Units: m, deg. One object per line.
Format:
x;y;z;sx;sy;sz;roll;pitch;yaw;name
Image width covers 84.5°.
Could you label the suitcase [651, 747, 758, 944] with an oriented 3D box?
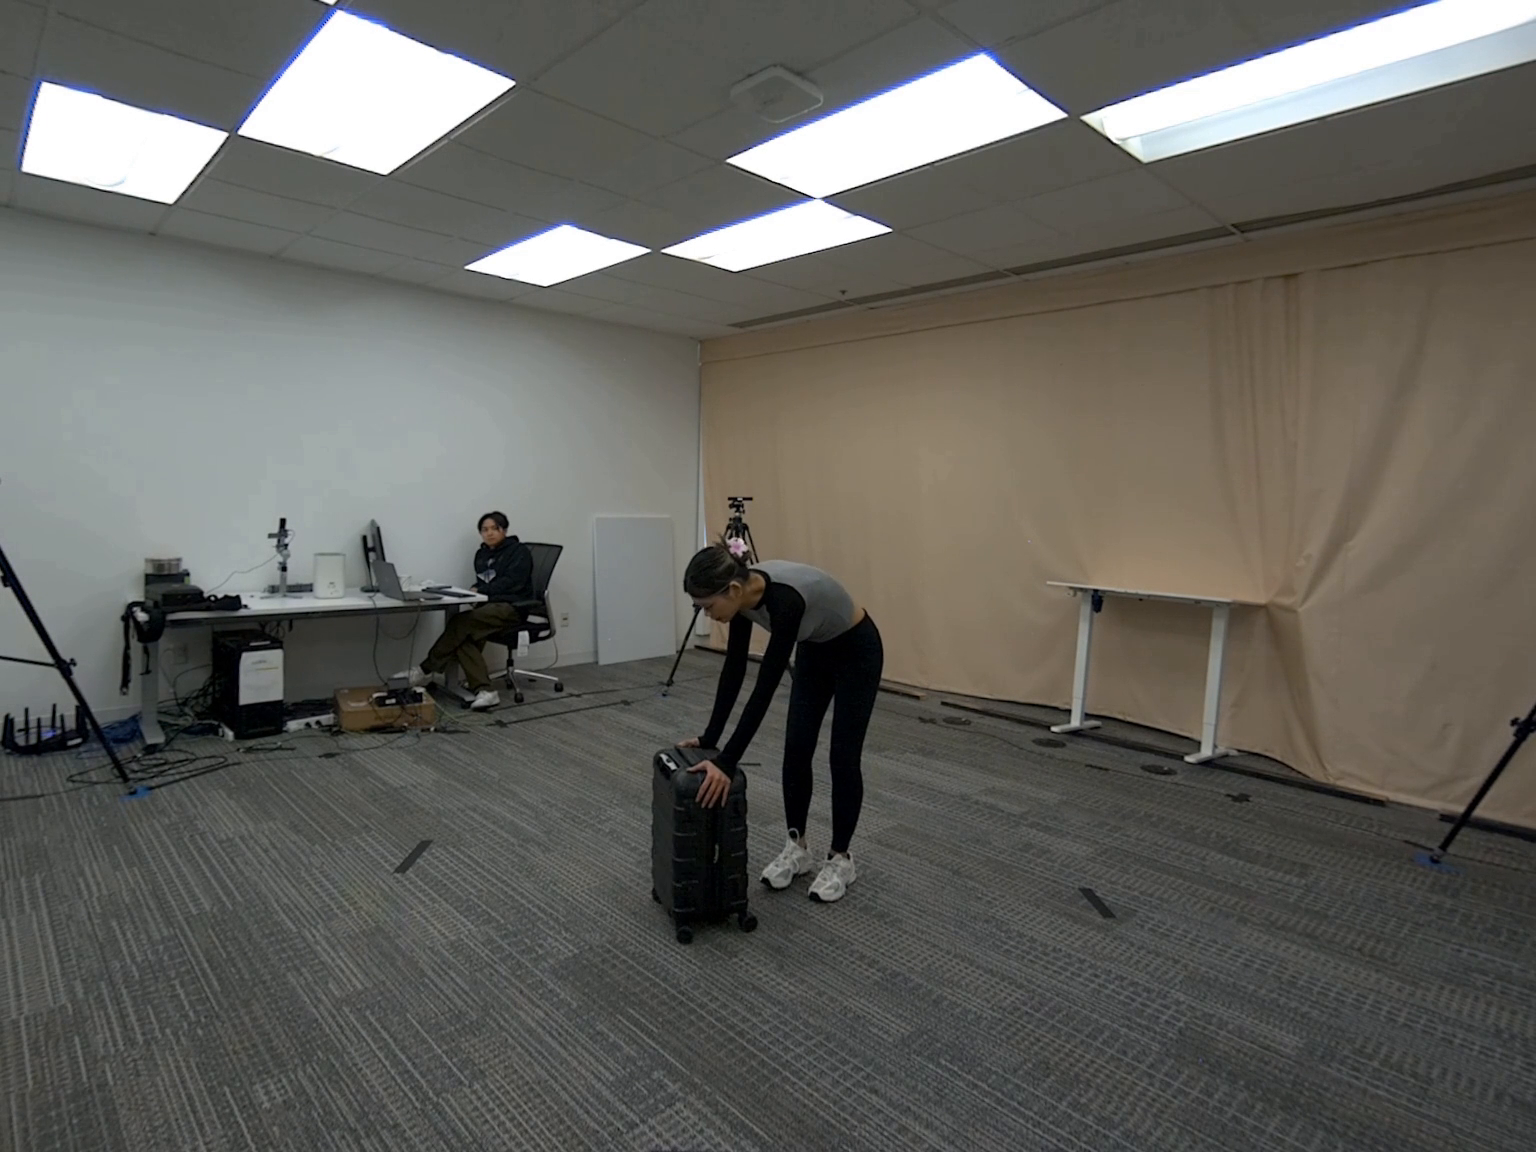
-0.236;0.856;2.799;0.244;0.548;0.382;-1;3;-21;suitcase
